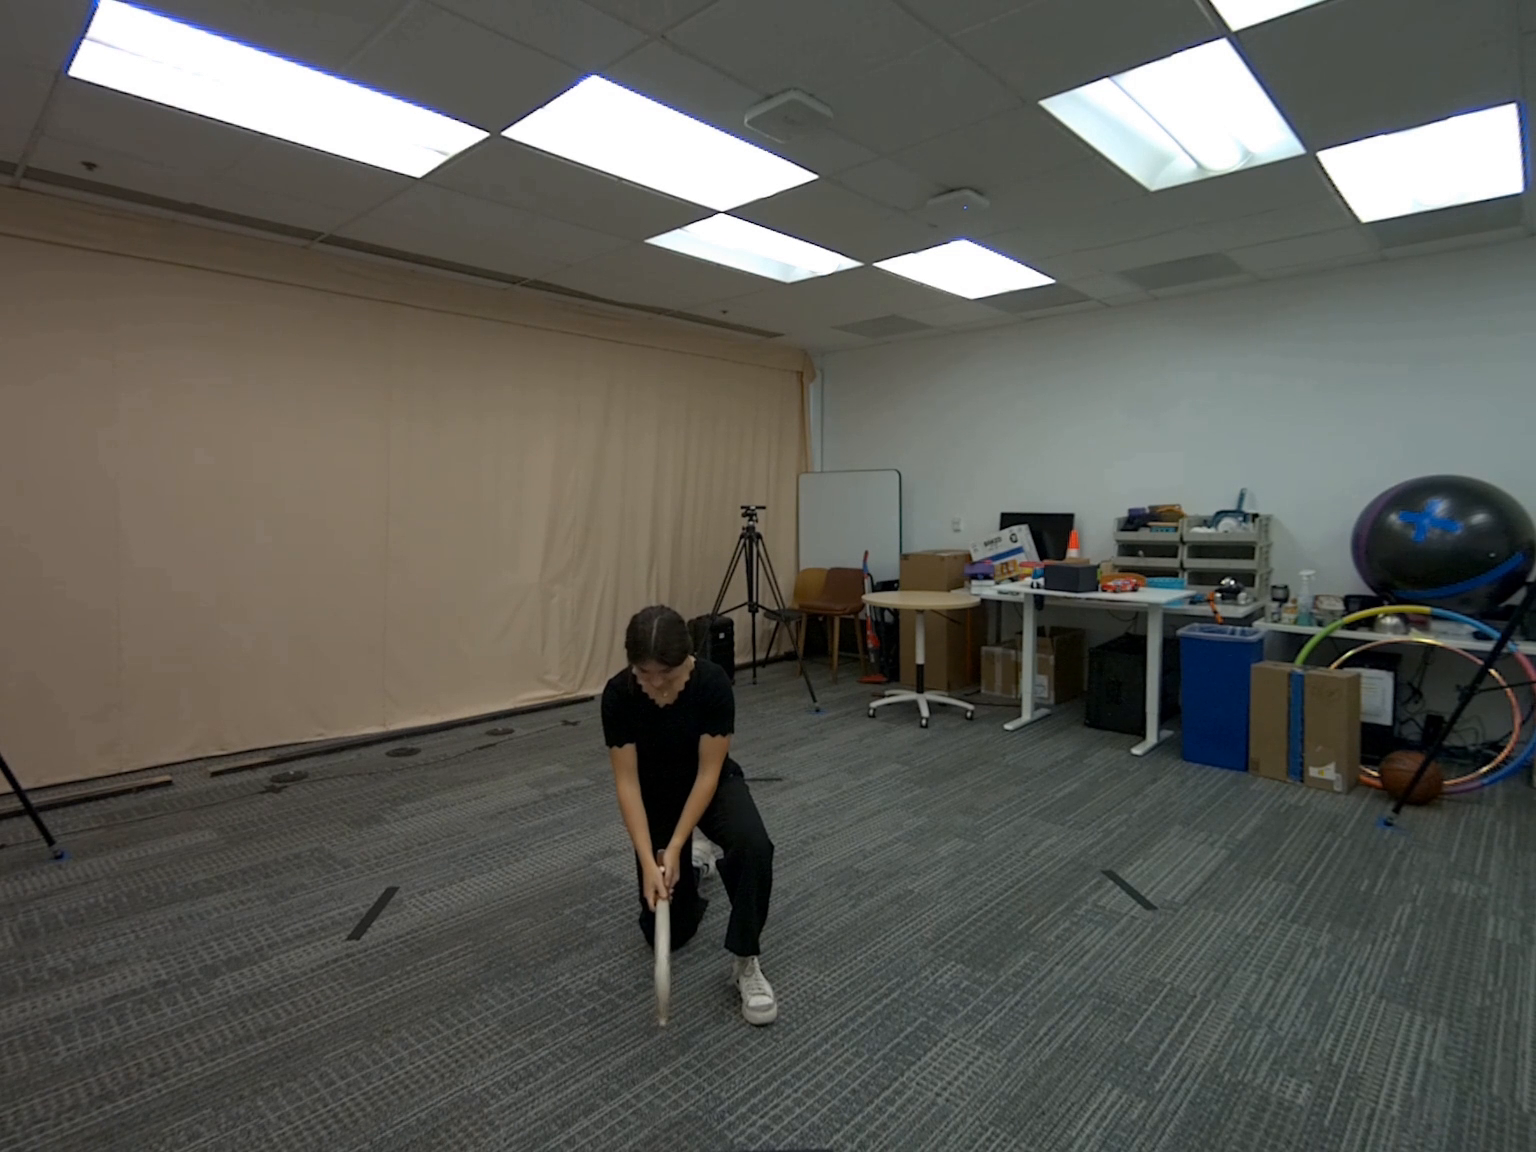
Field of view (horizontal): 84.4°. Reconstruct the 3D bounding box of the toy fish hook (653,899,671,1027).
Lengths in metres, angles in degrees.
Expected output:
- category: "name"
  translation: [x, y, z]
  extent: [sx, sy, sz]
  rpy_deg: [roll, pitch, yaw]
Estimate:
- category: "toy fish hook"
  translation: [-0.285, 0.956, 2.257]
  extent: [0.048, 0.223, 0.513]
  rpy_deg: [7, 19, -7]
